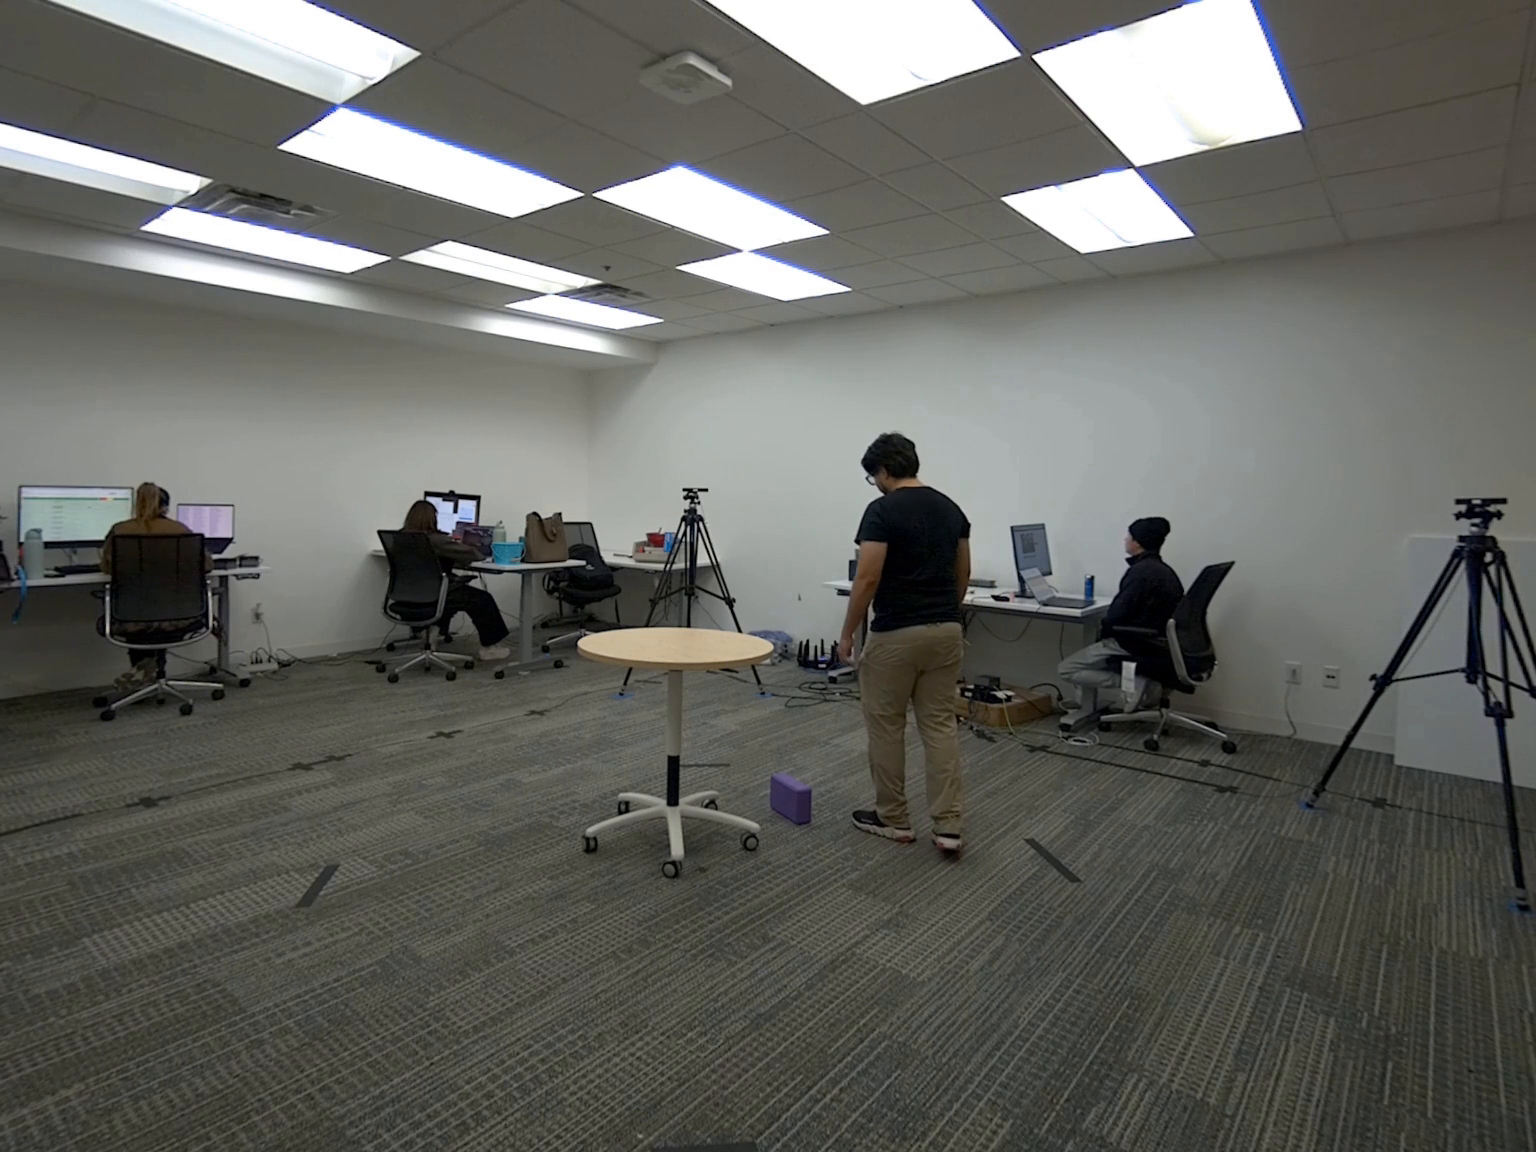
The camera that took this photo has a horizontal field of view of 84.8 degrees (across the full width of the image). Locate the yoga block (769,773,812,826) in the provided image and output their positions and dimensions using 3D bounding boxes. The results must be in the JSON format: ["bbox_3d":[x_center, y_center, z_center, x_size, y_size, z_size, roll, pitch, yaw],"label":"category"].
[{"bbox_3d":[0.086,0.946,3.654,0.074,0.148,0.236,-2,5,-30],"label":"yoga block"}]
